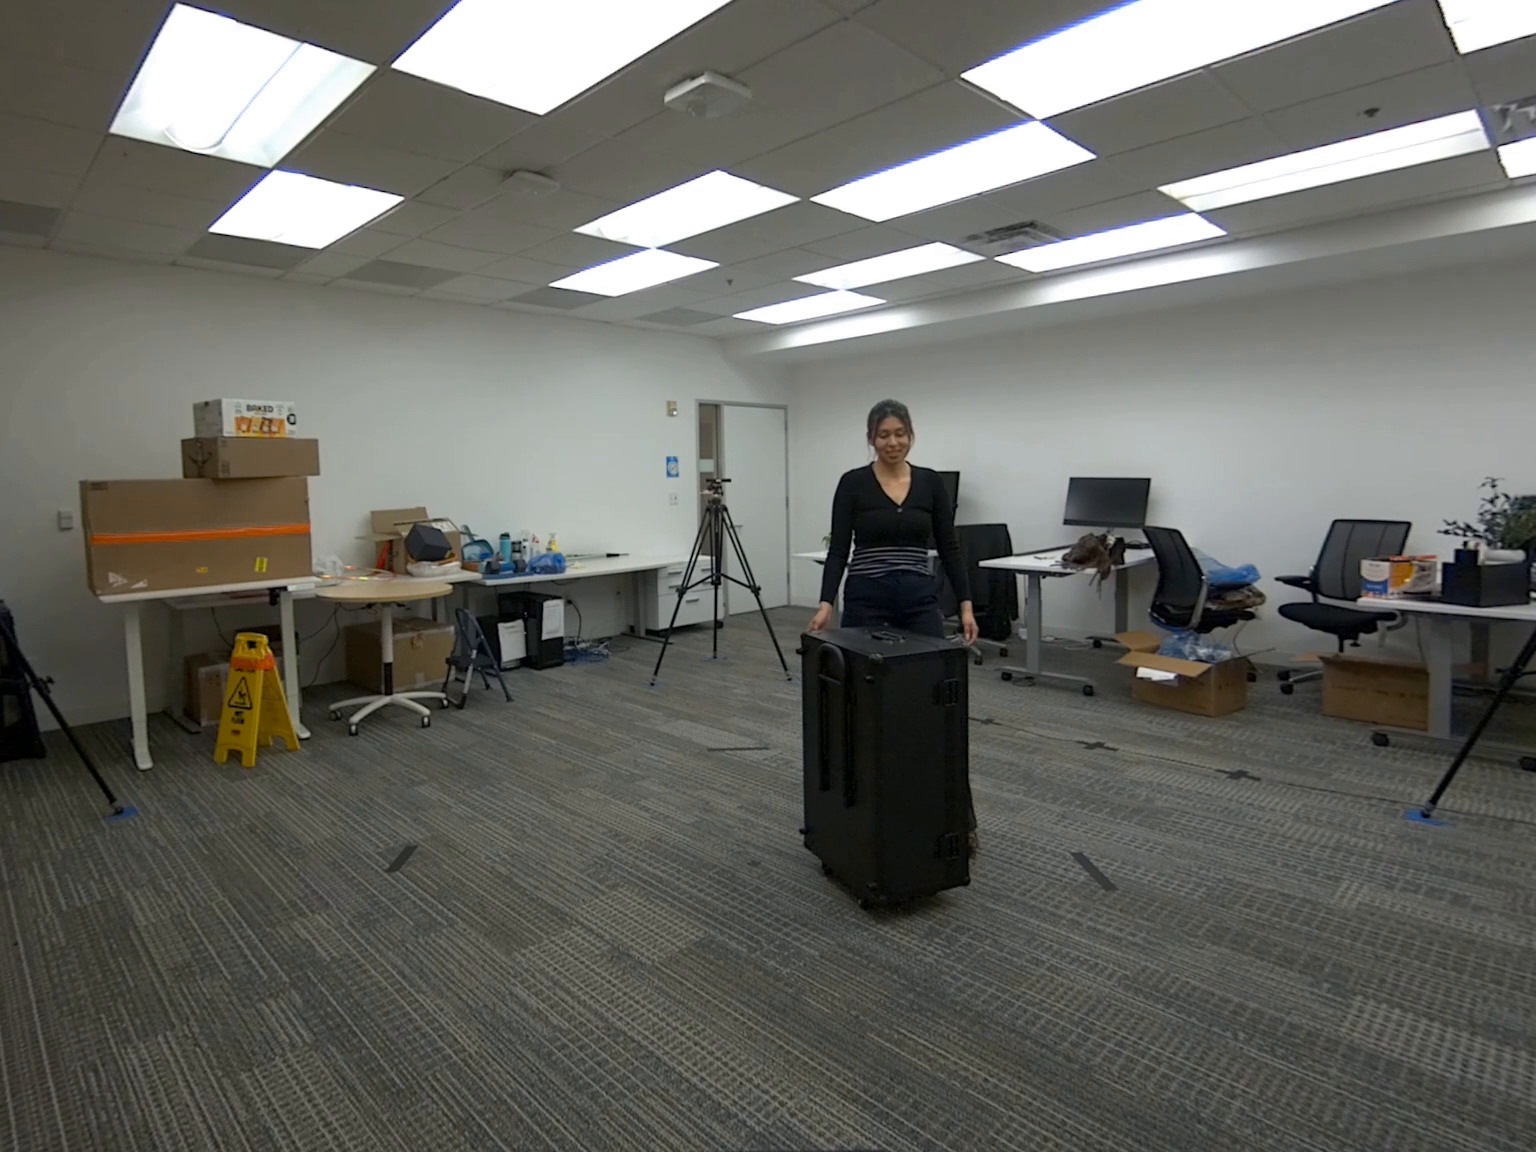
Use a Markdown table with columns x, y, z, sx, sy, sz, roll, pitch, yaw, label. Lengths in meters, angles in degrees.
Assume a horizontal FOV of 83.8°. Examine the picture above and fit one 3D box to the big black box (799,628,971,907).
| x | y | z | sx | sy | sz | roll | pitch | yaw | label |
| --- | --- | --- | --- | --- | --- | --- | --- | --- | --- |
| 0.380 | 0.634 | 2.889 | 0.388 | 0.858 | 0.534 | -4 | 5 | -25 | big black box |
